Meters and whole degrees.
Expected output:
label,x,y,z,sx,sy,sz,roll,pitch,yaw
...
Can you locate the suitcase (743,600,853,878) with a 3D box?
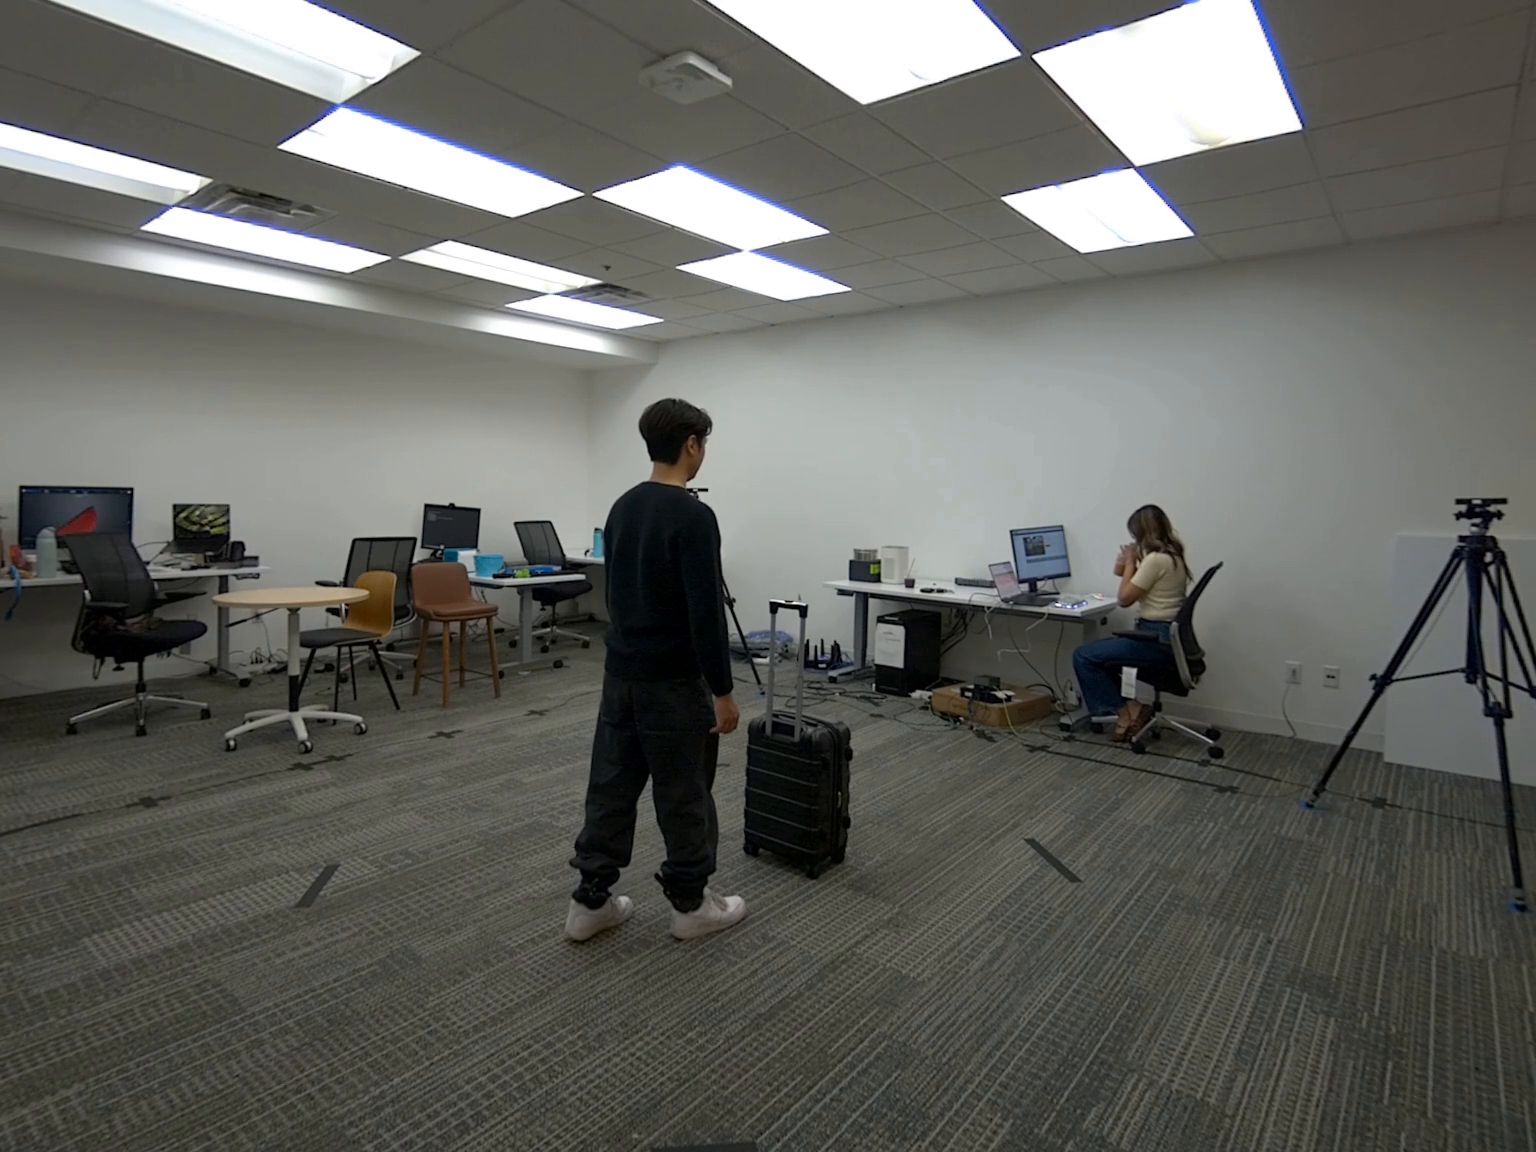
label,x,y,z,sx,sy,sz,roll,pitch,yaw
suitcase,0.112,0.585,3.208,0.397,0.977,0.249,5,3,38
